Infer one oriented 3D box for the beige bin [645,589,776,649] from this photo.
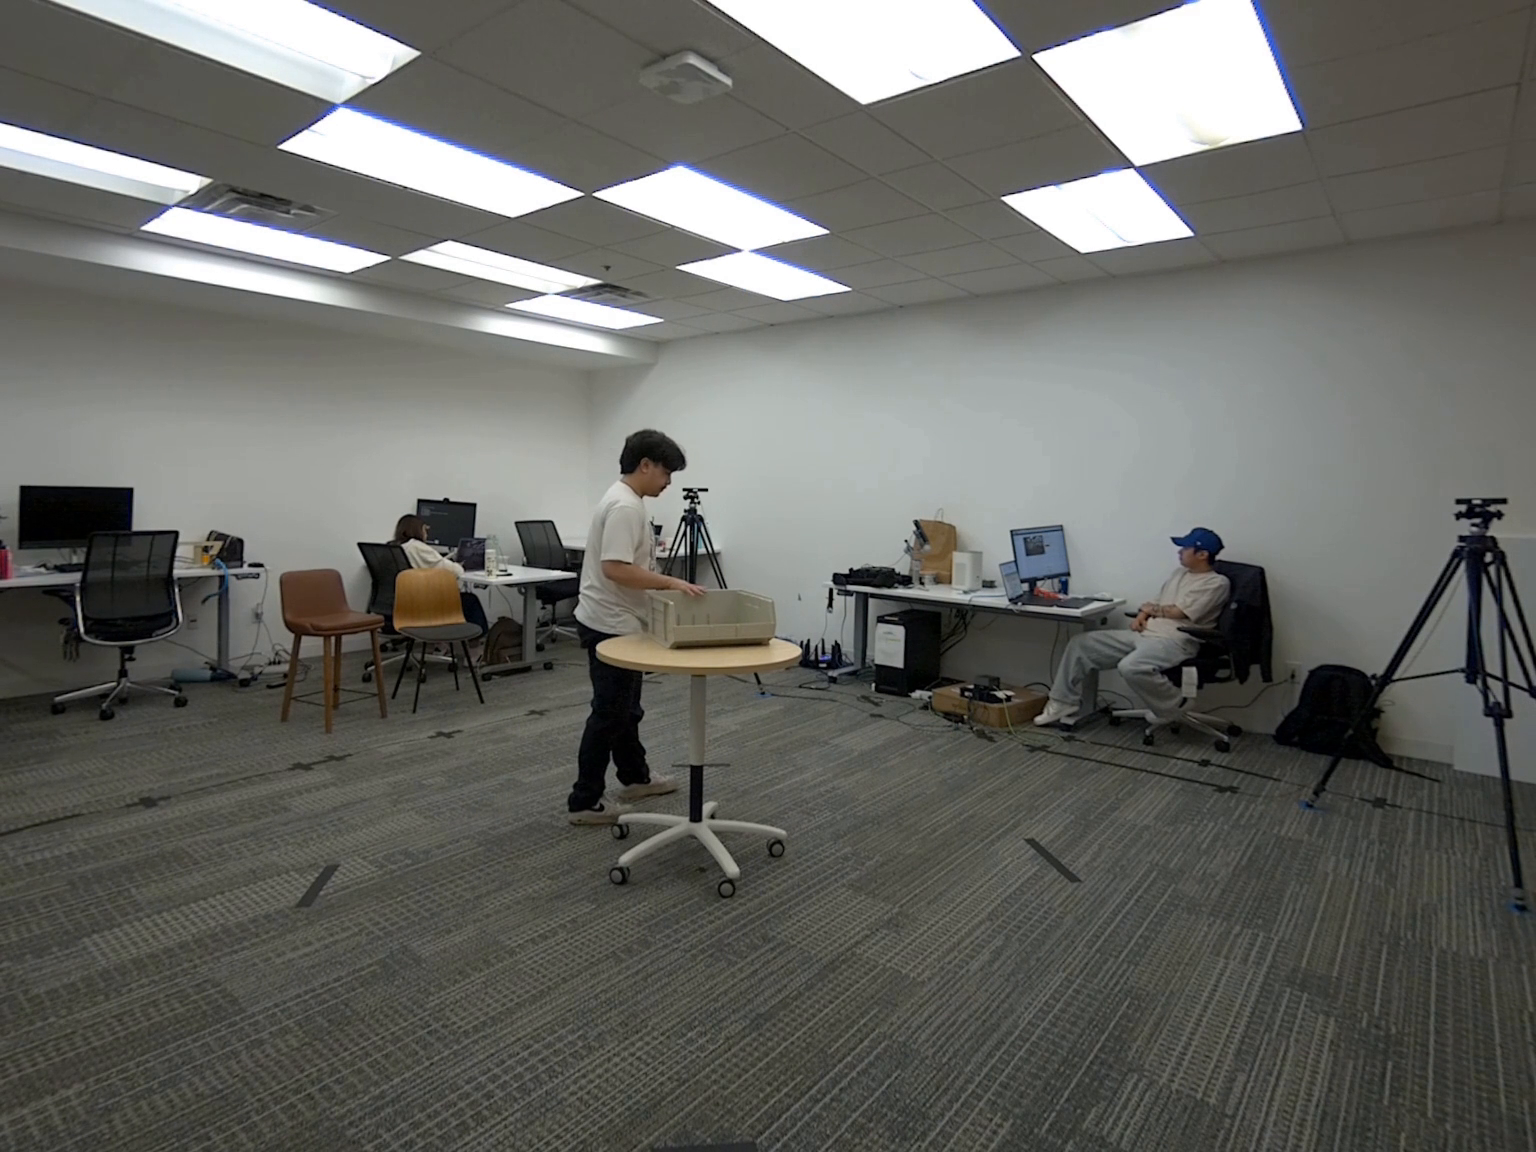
[{"bbox_3d":[-0.246,0.163,3.327,0.413,0.188,0.386,-1,4,-22],"label":"beige bin"}]
